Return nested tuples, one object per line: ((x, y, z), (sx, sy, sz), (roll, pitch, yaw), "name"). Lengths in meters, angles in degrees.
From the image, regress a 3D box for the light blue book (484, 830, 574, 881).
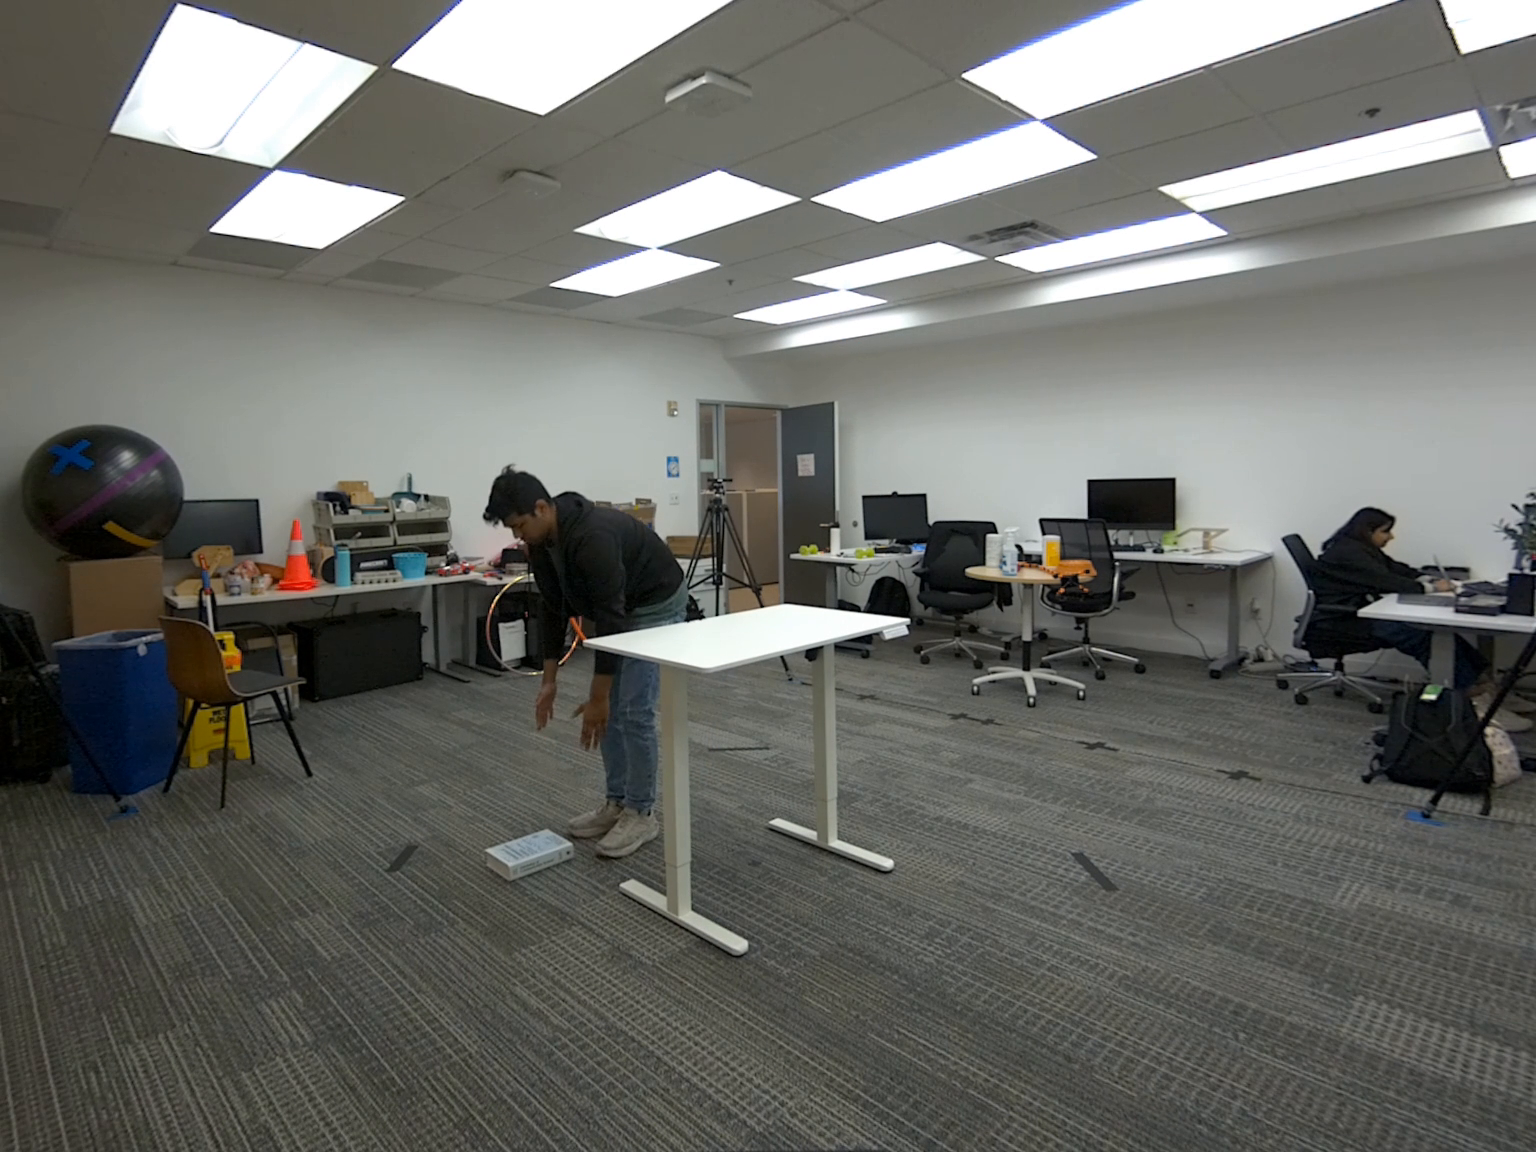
((-0.876, 1.025, 3.149), (0.254, 0.059, 0.197), (-8, 8, -43), "light blue book")
